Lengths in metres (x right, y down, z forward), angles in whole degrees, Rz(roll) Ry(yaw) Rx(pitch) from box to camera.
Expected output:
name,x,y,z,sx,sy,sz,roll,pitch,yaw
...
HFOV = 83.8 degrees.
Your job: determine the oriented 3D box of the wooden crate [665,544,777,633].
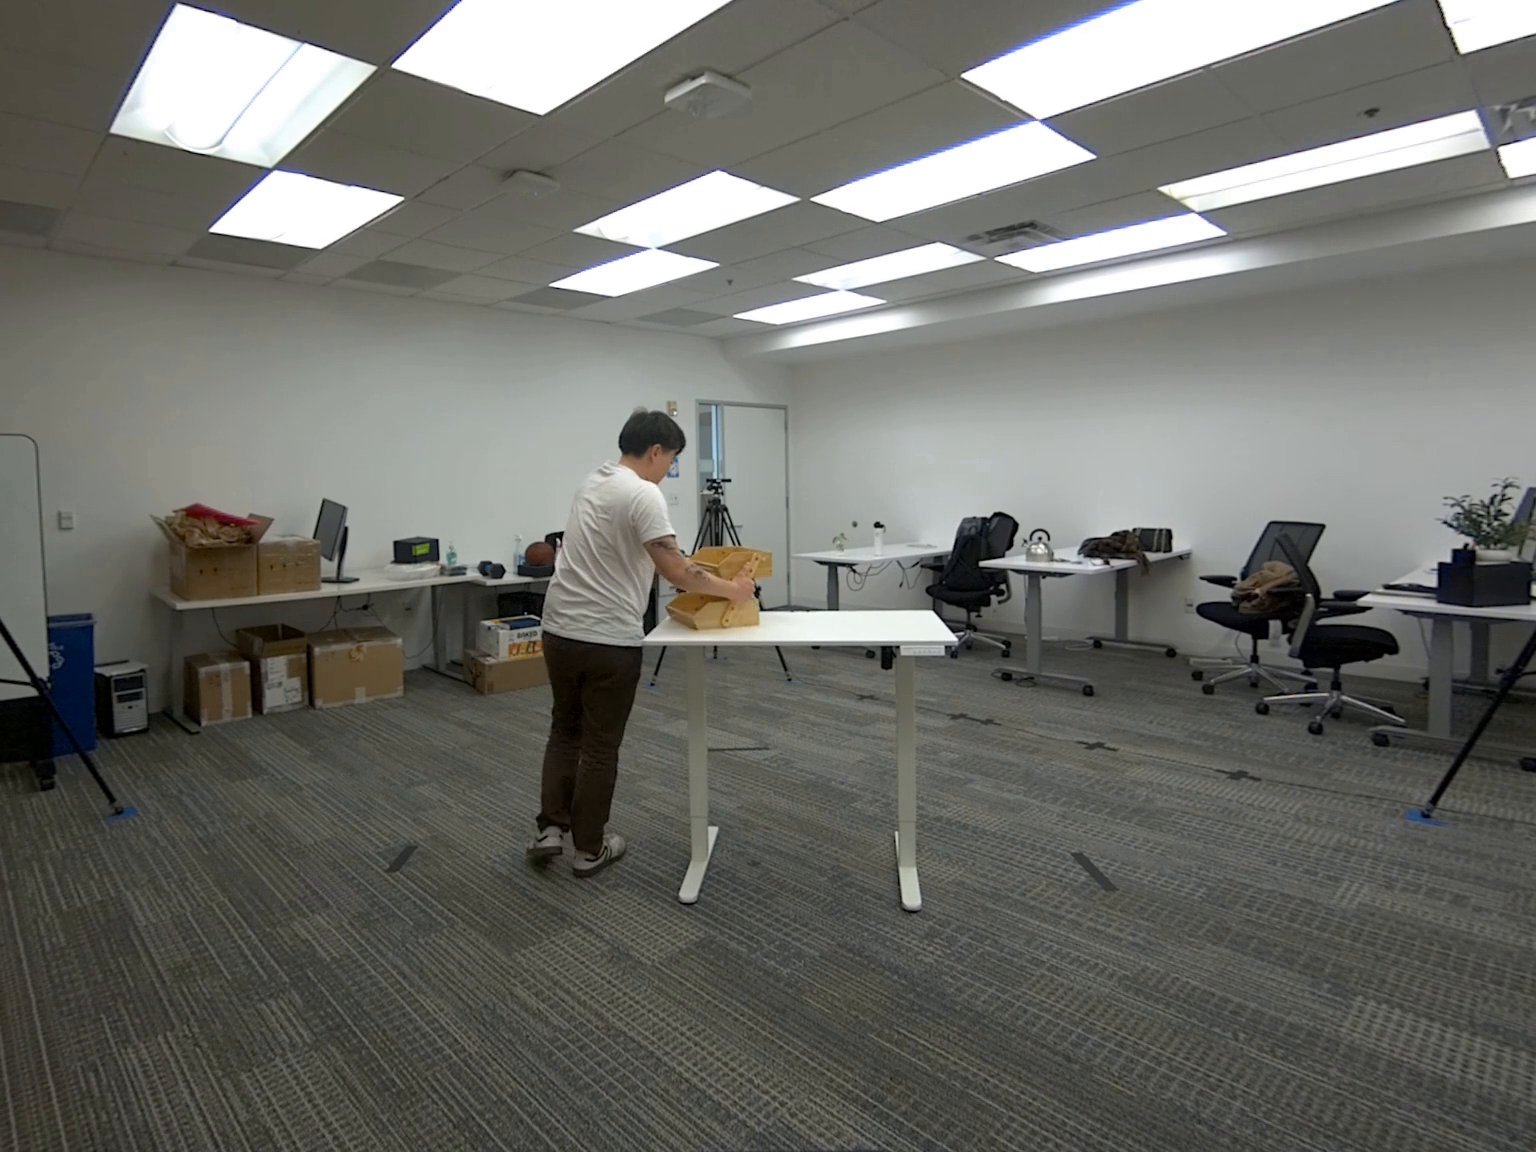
name,x,y,z,sx,sy,sz,roll,pitch,yaw
wooden crate,-0.179,0.033,3.109,0.296,0.272,0.332,-2,5,-23
